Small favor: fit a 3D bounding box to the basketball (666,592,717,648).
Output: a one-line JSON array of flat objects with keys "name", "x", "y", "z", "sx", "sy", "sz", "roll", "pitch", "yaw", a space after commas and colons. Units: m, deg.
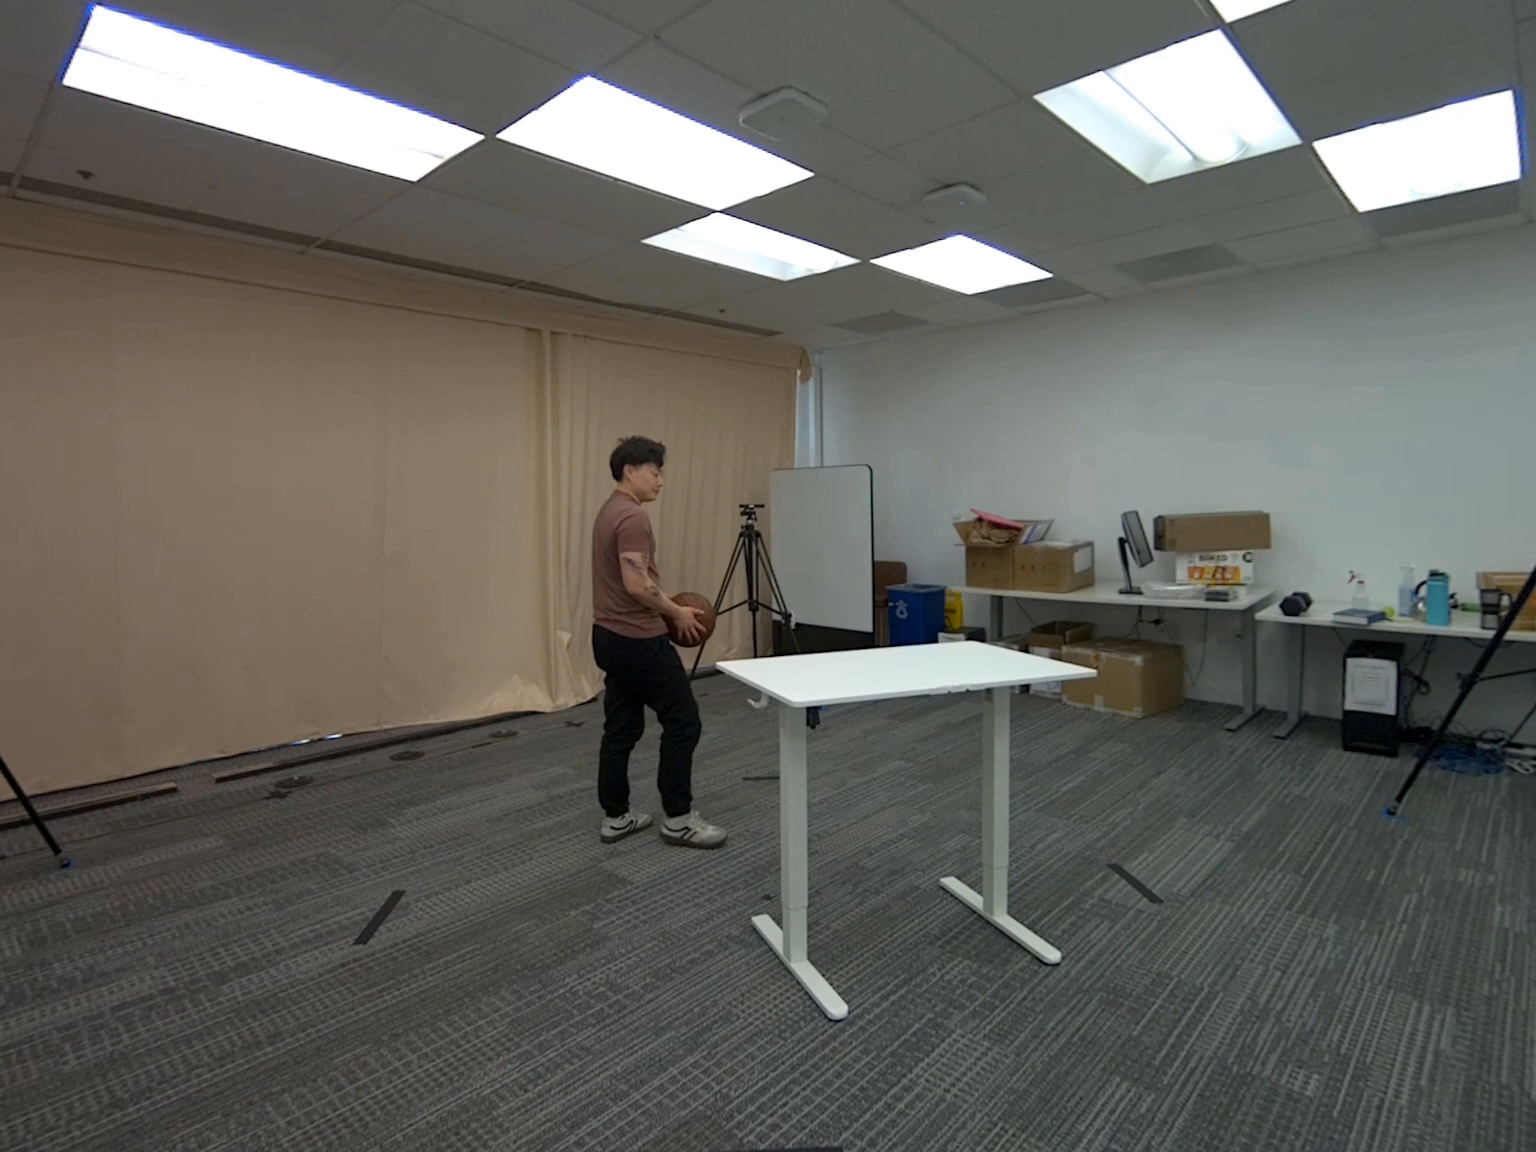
[{"name": "basketball", "x": -0.338, "y": 0.185, "z": 3.582, "sx": 0.236, "sy": 0.235, "sz": 0.237, "roll": -1, "pitch": 4, "yaw": -2}]
